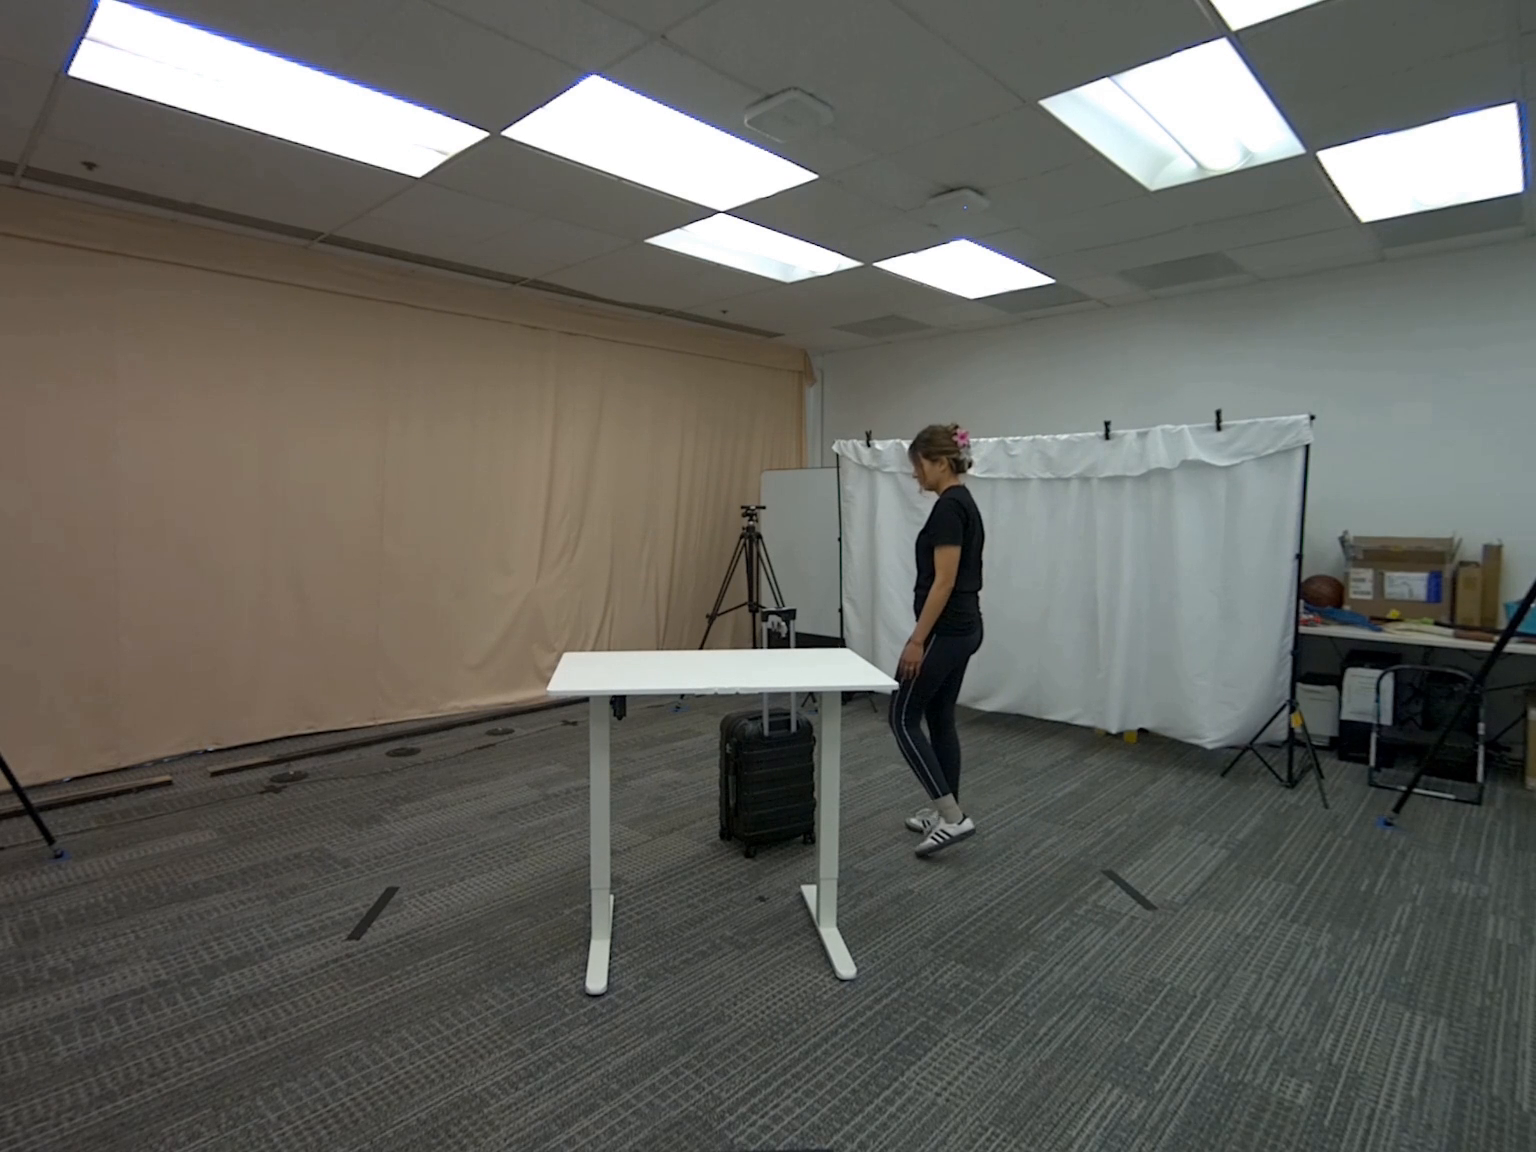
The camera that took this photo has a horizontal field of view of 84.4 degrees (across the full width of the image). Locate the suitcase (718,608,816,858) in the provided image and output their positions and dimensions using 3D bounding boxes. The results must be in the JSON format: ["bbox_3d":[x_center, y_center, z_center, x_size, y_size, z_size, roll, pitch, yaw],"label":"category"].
[{"bbox_3d":[-0.012,0.625,3.458,0.375,0.977,0.263,-2,2,-26],"label":"suitcase"}]
